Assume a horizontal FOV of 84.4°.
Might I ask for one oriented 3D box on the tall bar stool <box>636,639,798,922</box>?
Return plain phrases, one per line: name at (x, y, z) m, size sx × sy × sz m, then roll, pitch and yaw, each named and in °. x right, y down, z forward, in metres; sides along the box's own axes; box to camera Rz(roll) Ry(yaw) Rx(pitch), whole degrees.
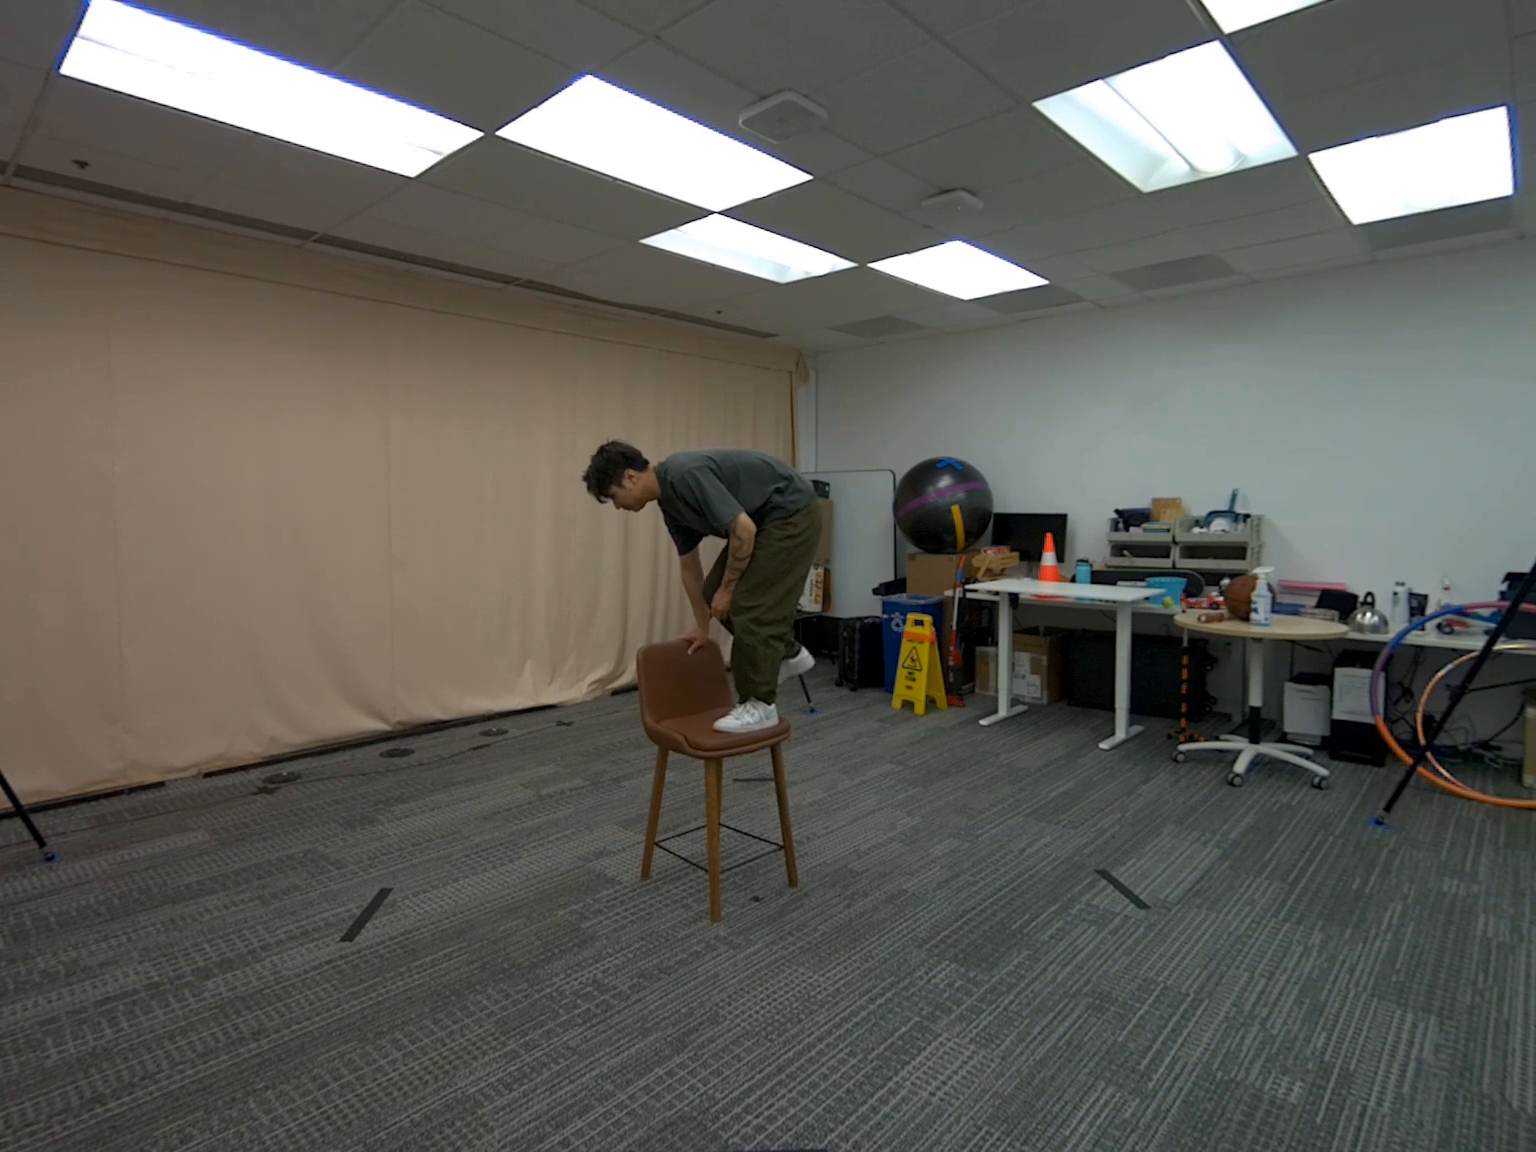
tall bar stool at (-0.194, 0.700, 3.098) m, size 0.442 × 0.888 × 0.483 m, roll -3°, pitch 3°, yaw -42°
